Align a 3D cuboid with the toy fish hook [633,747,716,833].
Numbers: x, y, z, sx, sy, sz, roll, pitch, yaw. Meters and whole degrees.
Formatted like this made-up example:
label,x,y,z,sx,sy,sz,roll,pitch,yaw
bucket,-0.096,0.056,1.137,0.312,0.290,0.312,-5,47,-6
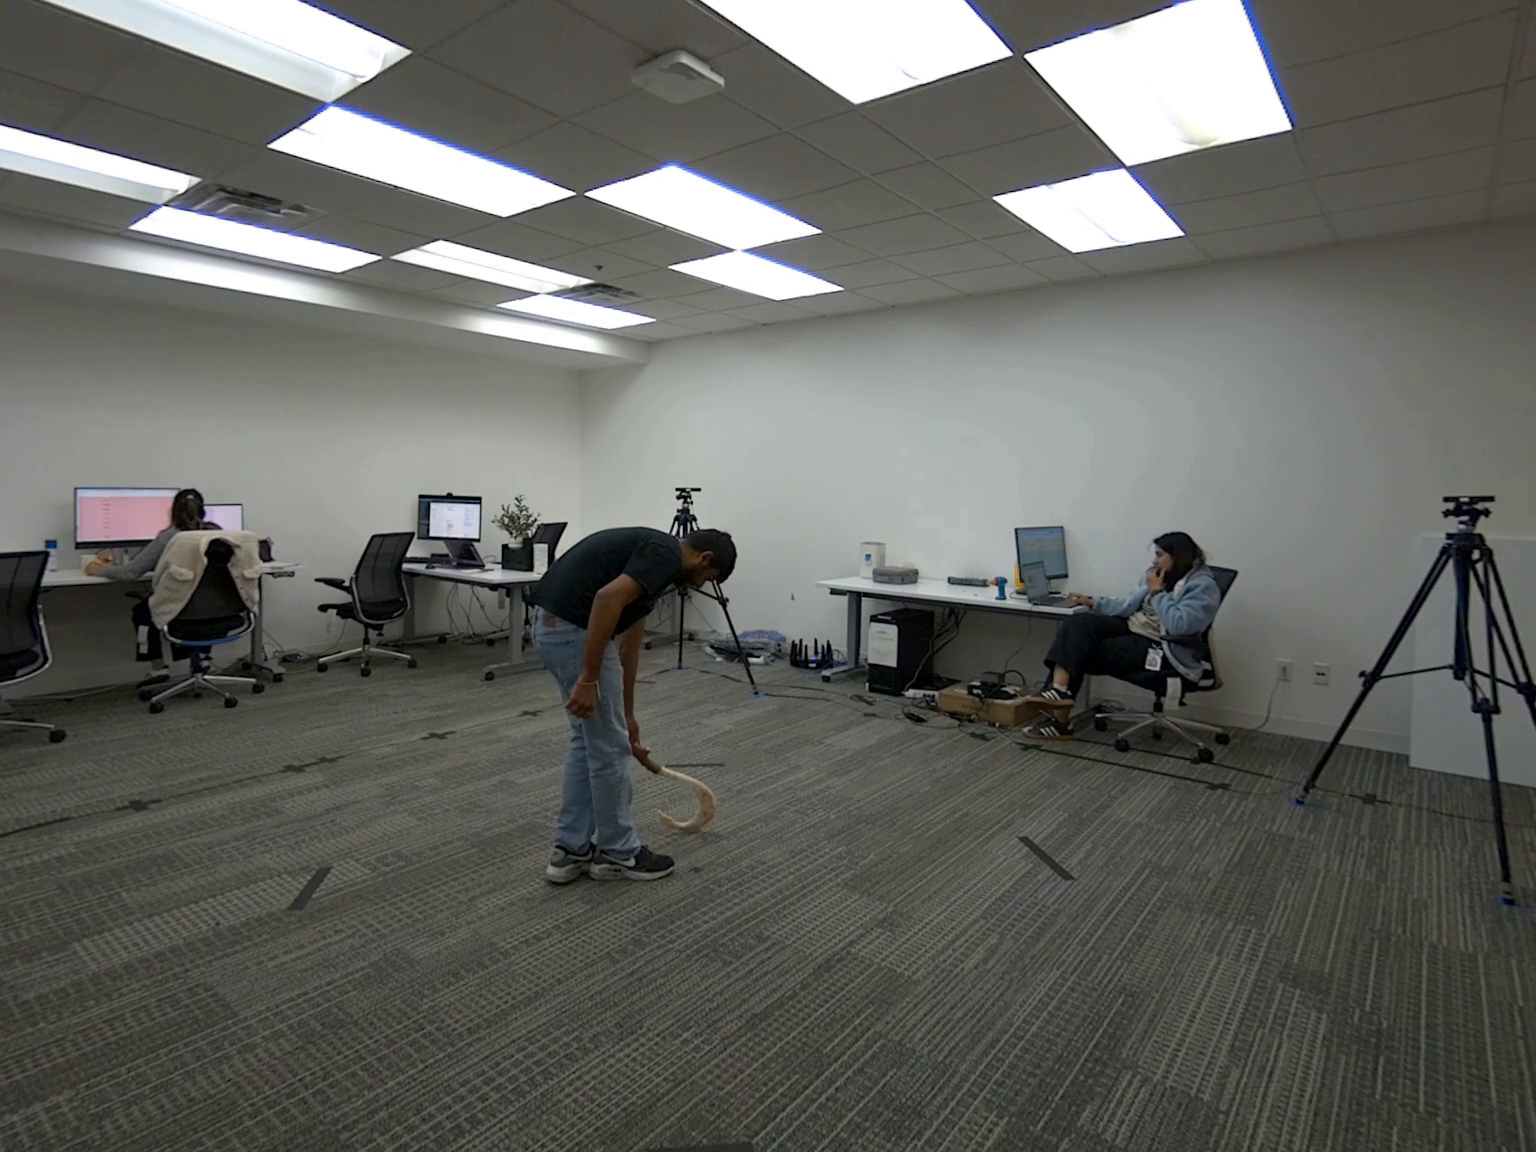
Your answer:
label,x,y,z,sx,sy,sz,roll,pitch,yaw
toy fish hook,-0.441,0.838,3.397,0.499,0.224,0.049,42,-4,-10
